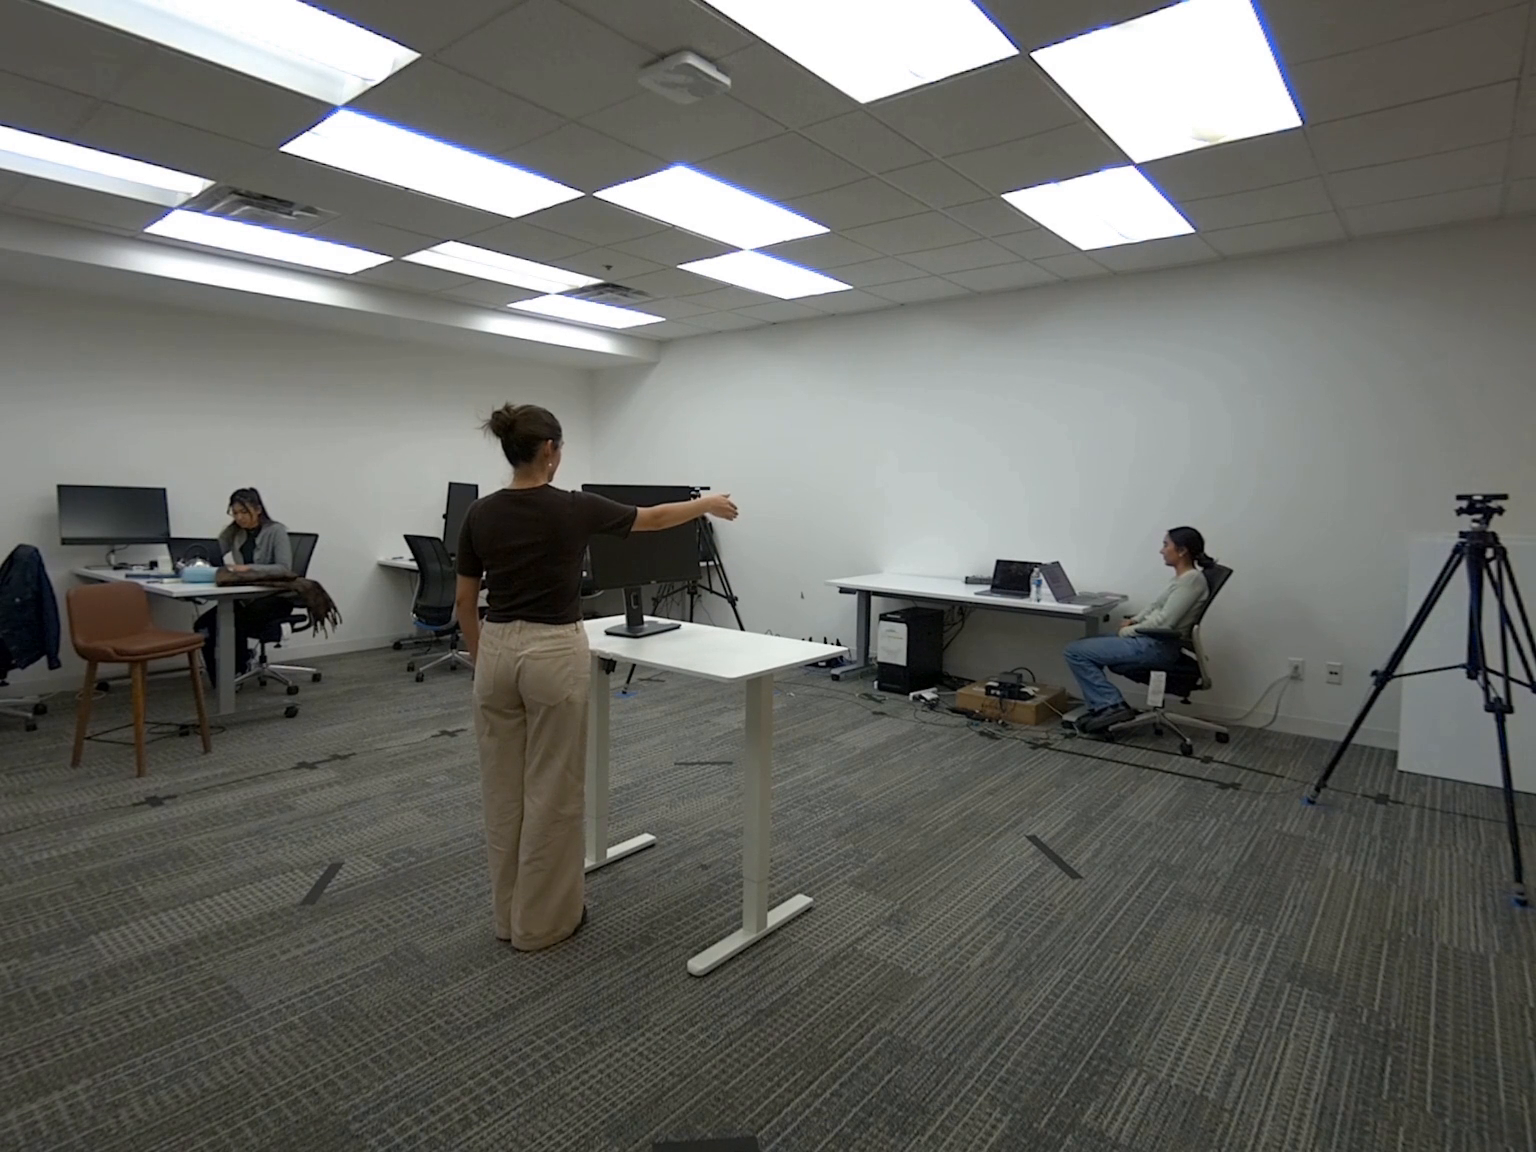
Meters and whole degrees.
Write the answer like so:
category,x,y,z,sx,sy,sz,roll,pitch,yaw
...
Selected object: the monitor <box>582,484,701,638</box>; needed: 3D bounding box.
category,x,y,z,sx,sy,sz,roll,pitch,yaw
monitor,-0.454,-0.059,2.975,0.193,0.520,0.524,5,6,37
